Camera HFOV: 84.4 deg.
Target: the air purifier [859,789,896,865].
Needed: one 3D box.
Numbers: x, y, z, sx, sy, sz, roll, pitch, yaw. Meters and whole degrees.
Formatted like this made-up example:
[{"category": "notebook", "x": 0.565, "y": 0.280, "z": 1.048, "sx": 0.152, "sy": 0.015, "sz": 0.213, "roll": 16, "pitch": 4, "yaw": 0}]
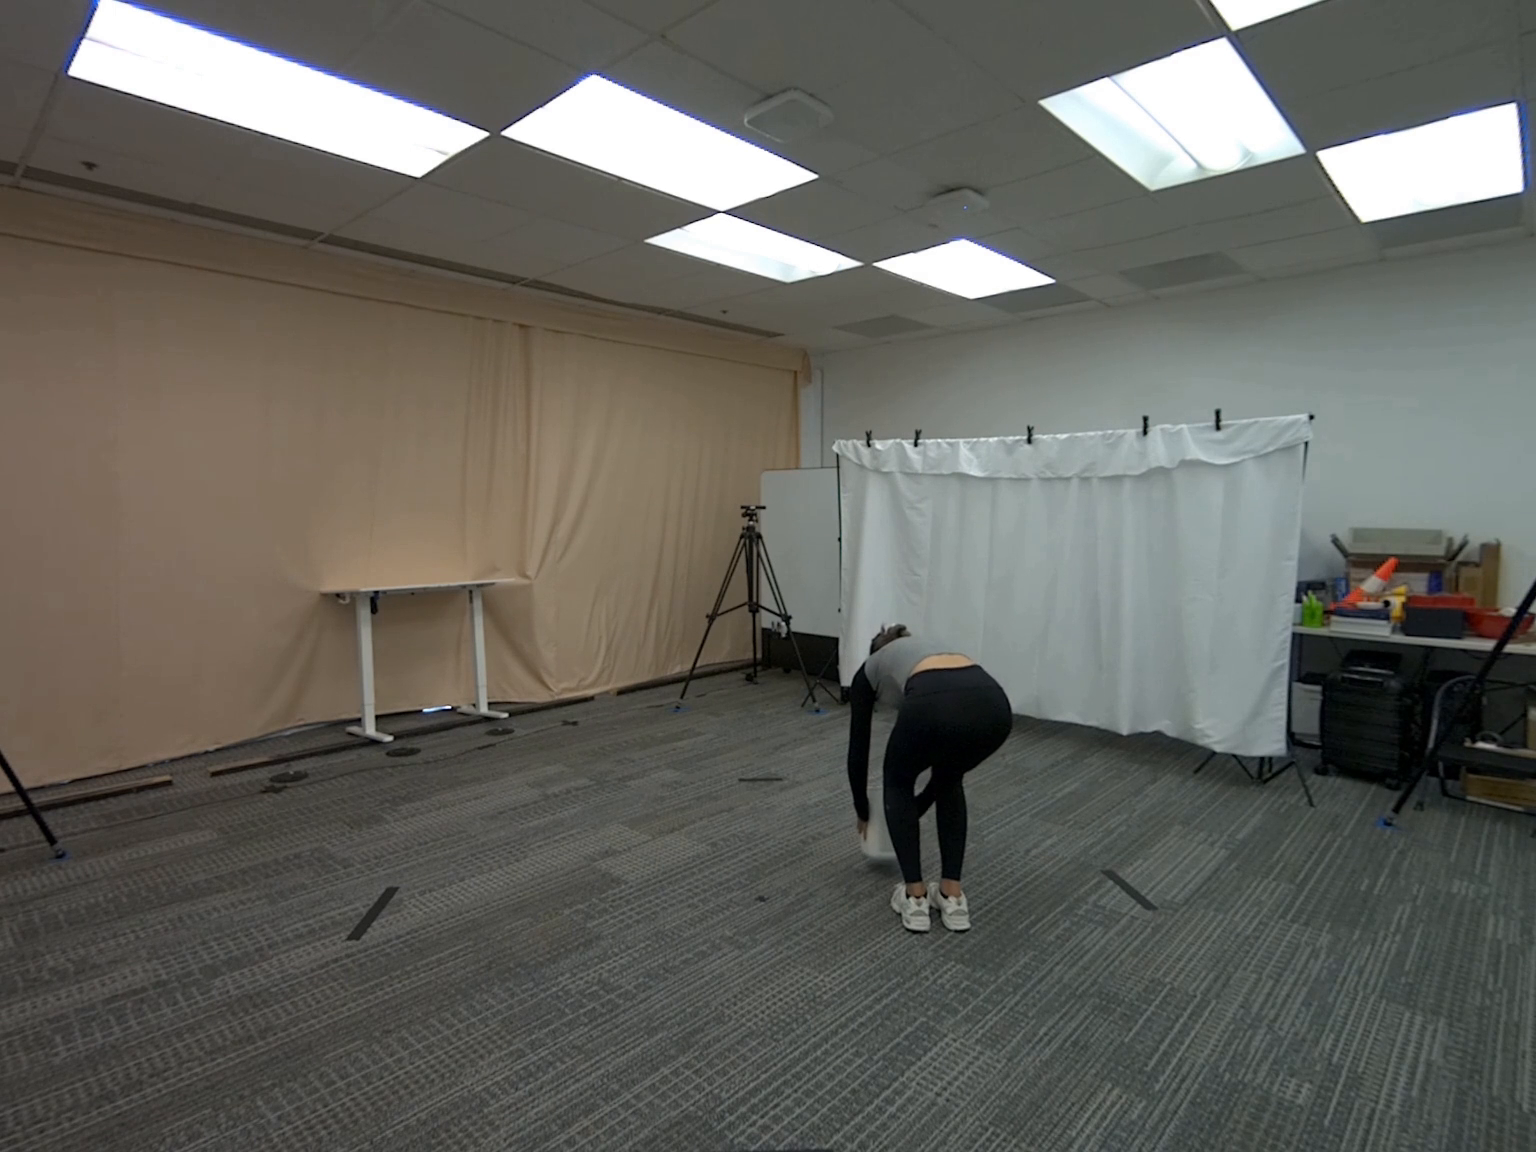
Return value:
[{"category": "air purifier", "x": 0.453, "y": 0.940, "z": 3.224, "sx": 0.169, "sy": 0.266, "sz": 0.172, "roll": 1, "pitch": -6, "yaw": -12}]
